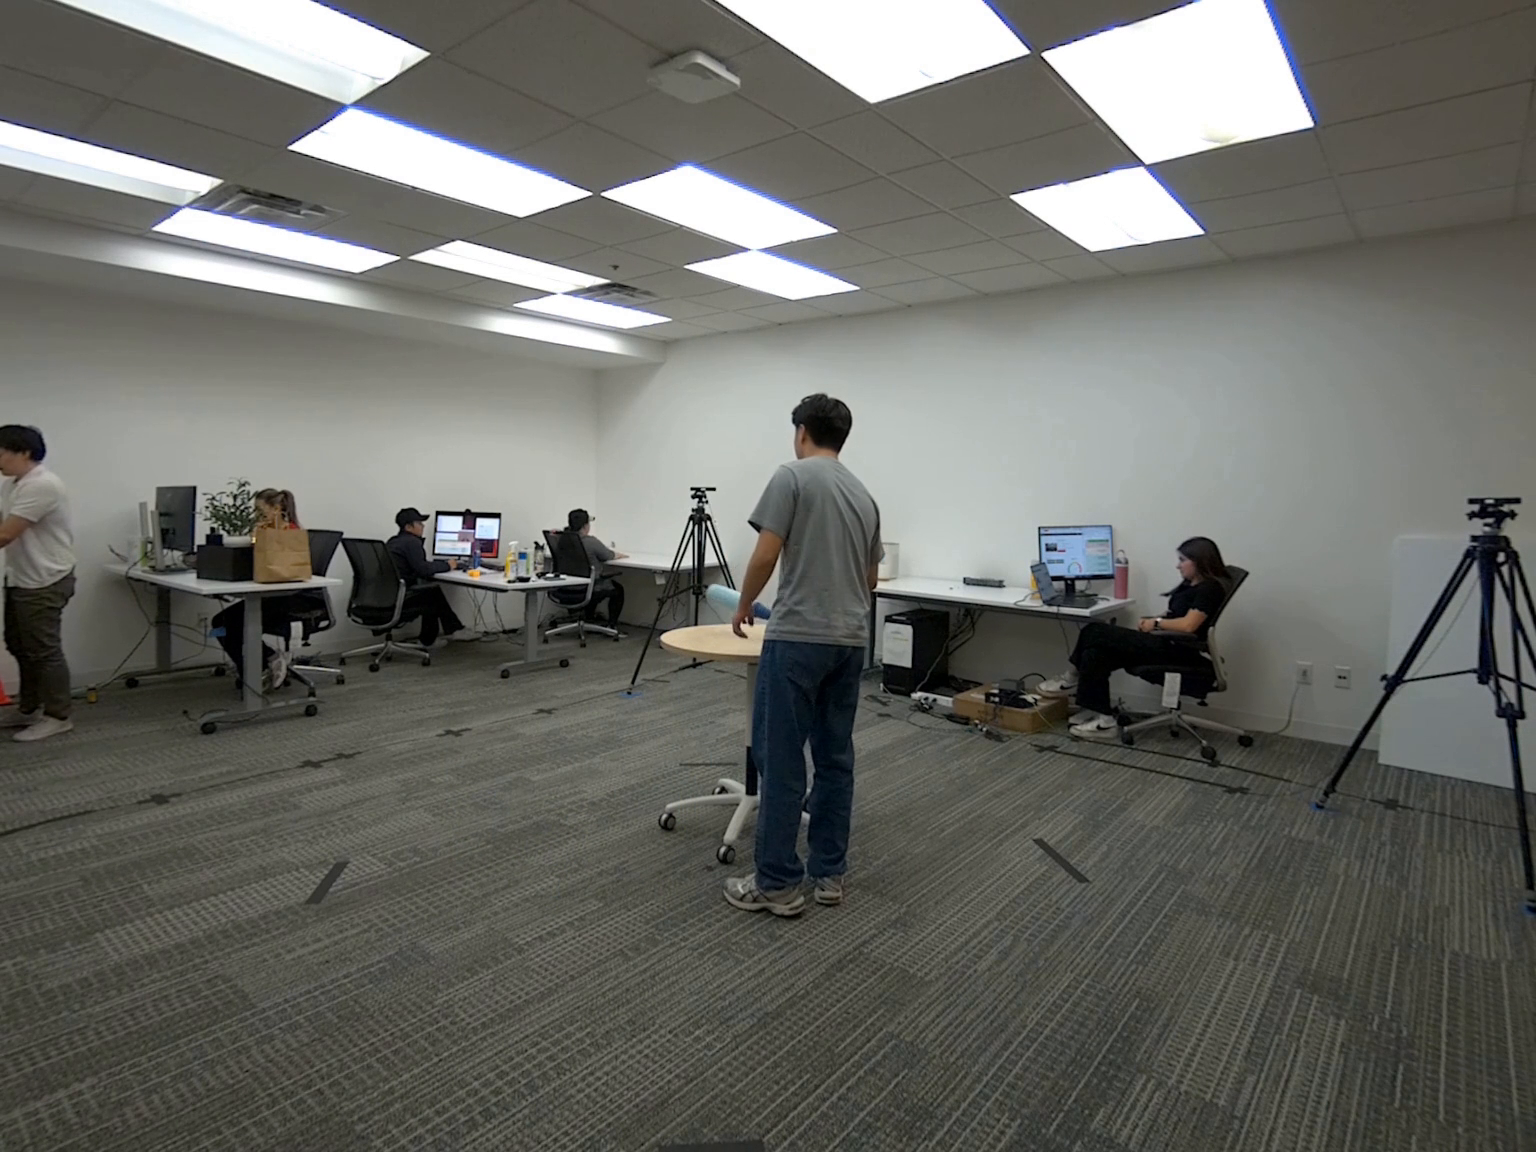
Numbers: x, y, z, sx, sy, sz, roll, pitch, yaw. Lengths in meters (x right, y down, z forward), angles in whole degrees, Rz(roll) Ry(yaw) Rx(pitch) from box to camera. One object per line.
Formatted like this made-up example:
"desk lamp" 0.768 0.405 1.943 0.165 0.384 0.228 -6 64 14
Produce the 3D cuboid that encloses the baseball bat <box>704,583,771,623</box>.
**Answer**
"baseball bat" -0.056 0.133 3.438 0.565 0.088 0.086 21 16 41
